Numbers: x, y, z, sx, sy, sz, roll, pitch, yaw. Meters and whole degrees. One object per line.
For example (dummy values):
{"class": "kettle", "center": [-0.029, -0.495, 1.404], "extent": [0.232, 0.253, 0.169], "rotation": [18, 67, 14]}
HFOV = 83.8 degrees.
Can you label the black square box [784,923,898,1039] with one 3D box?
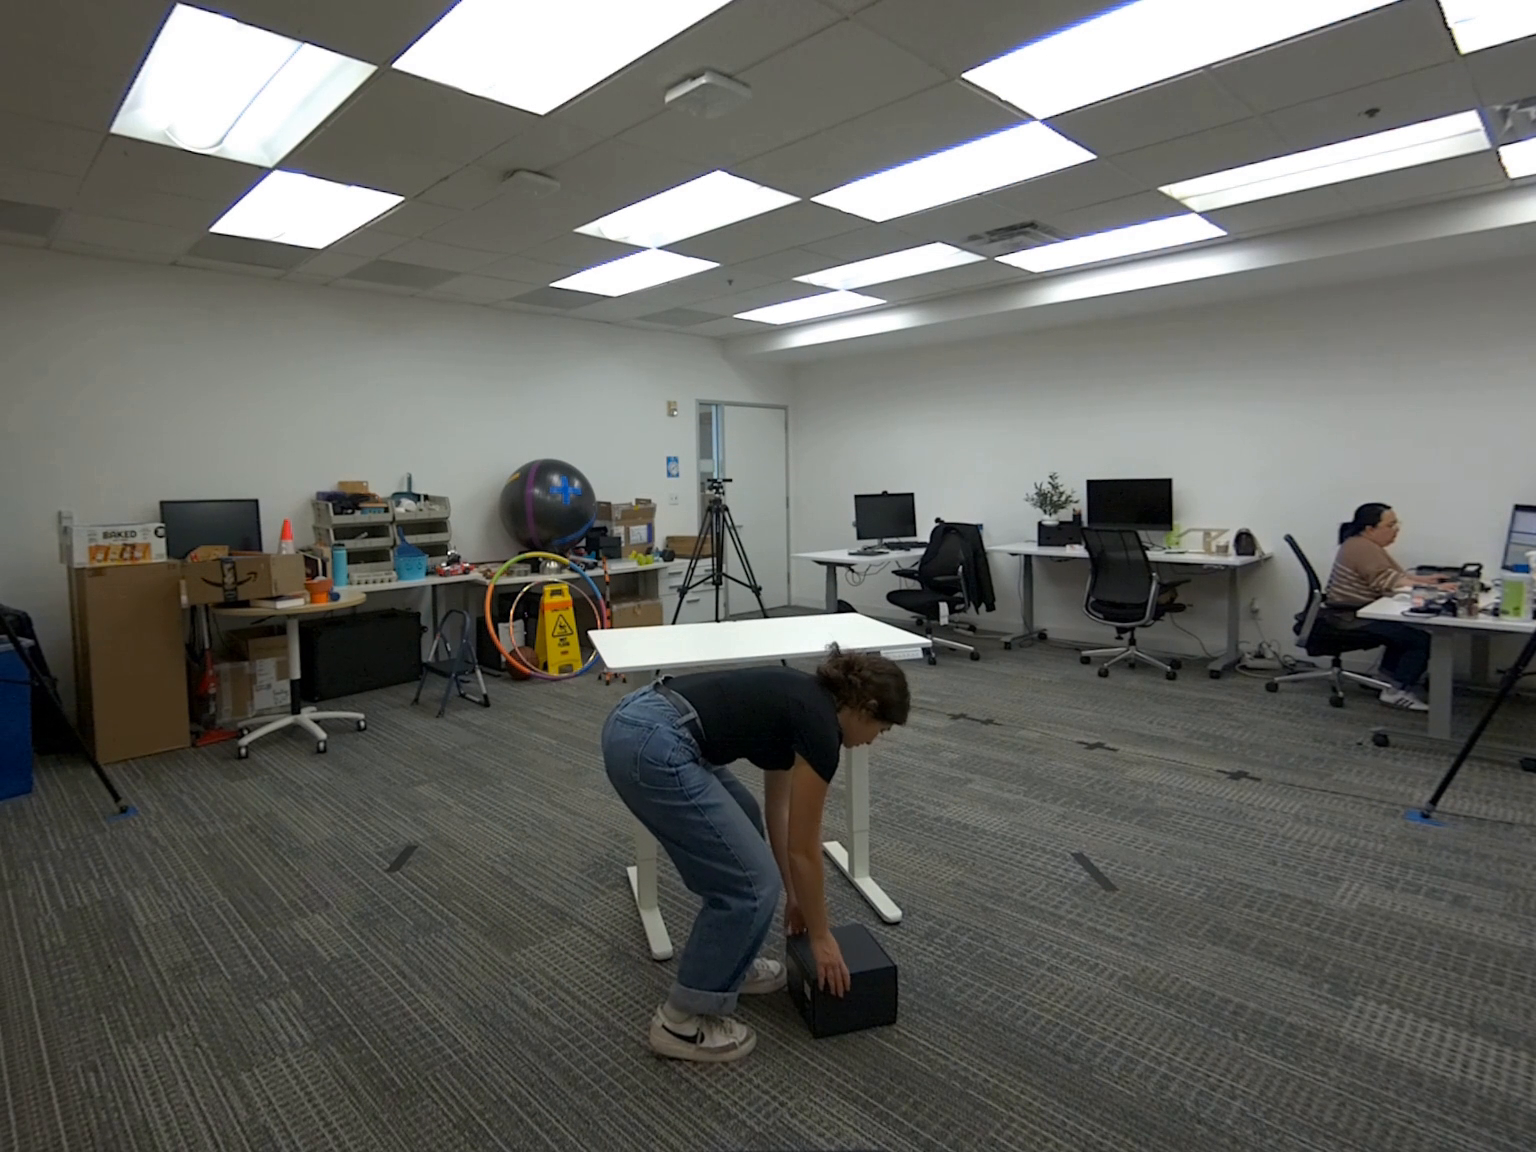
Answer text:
{"class": "black square box", "center": [0.196, 1.059, 2.248], "extent": [0.224, 0.155, 0.221], "rotation": [-3, 6, -17]}
